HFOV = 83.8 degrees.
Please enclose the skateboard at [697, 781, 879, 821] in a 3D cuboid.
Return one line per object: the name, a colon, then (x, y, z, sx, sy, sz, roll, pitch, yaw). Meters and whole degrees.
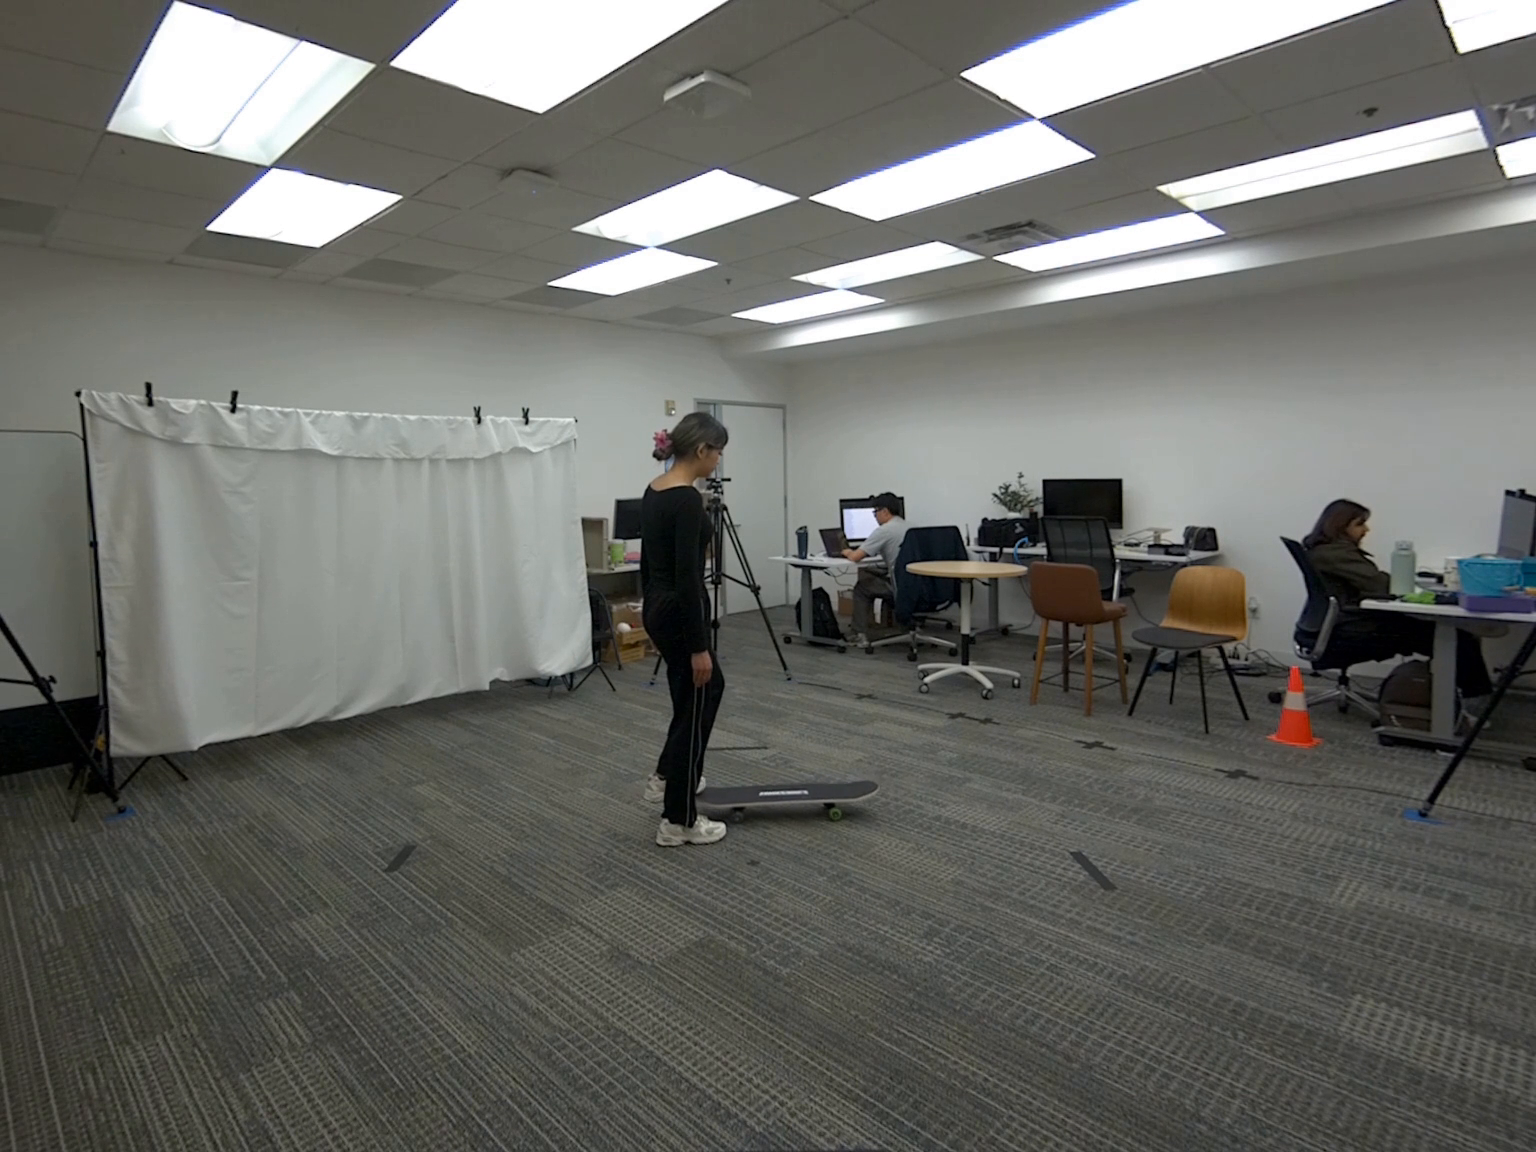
skateboard: (0.069, 0.928, 3.543, 0.785, 0.110, 0.194, -2, 7, -1)
